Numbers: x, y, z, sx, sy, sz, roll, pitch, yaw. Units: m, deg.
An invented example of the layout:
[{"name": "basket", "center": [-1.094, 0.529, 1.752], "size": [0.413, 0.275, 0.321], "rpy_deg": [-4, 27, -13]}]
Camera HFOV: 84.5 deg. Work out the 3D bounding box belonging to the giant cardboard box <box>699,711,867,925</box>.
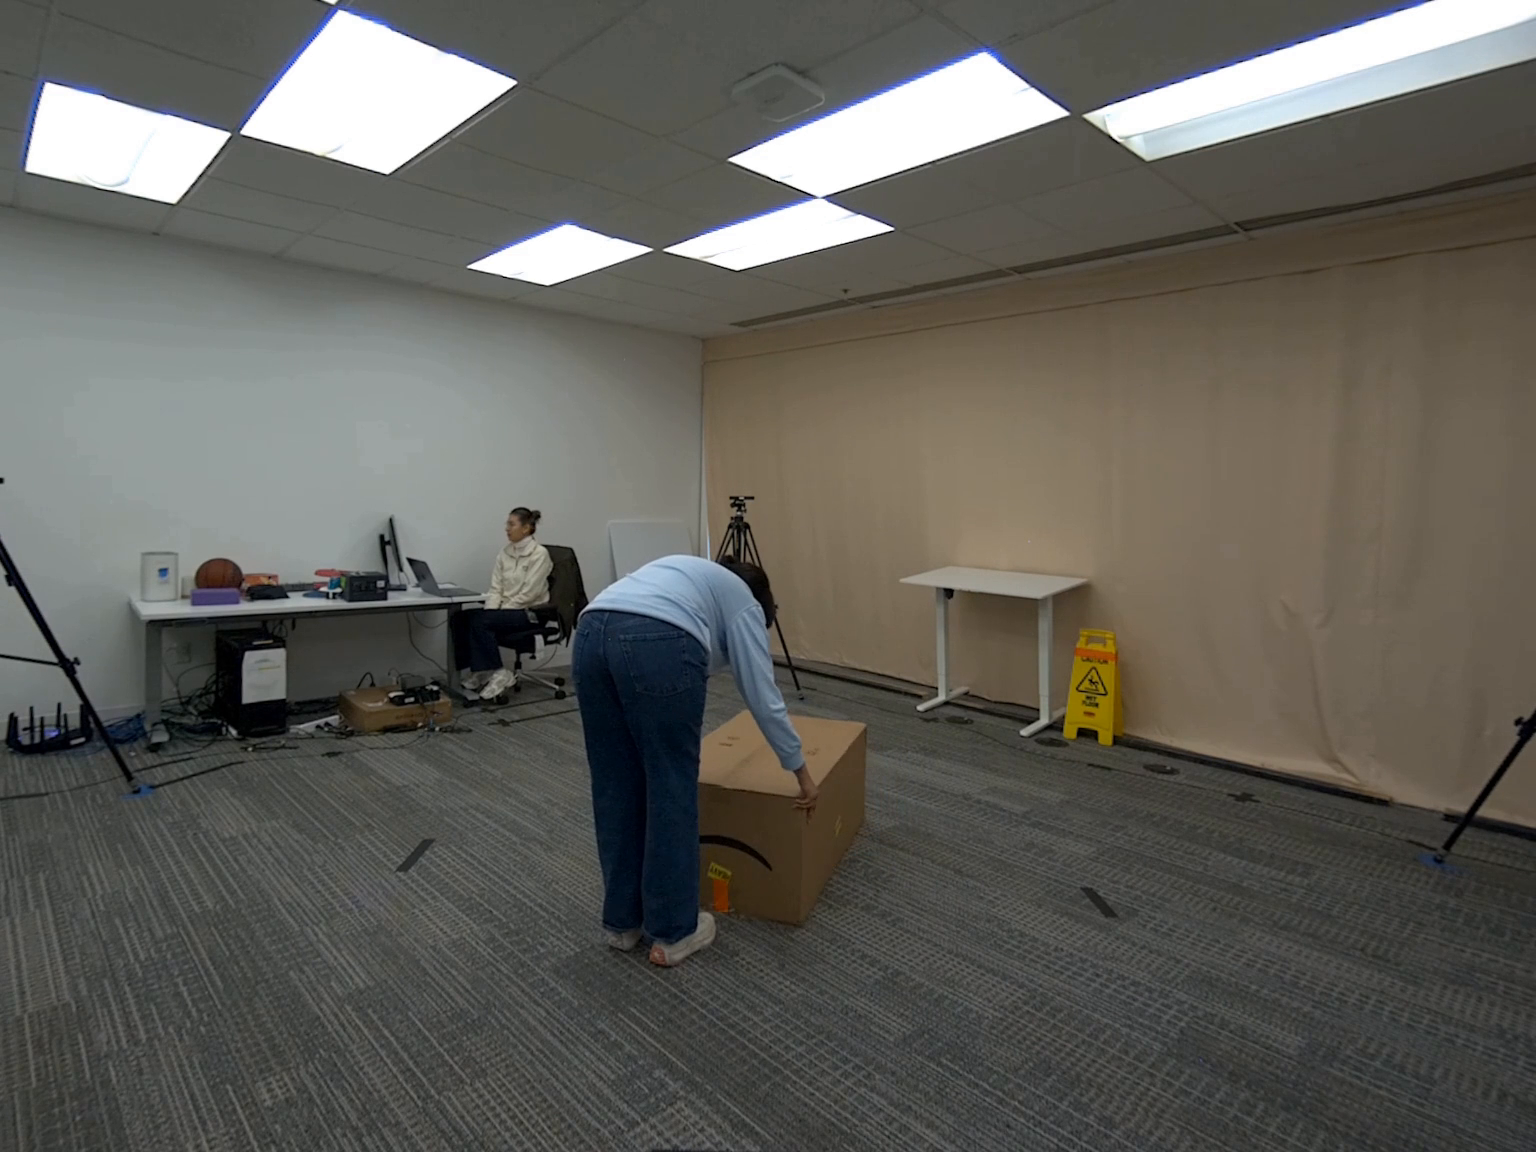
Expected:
[{"name": "giant cardboard box", "center": [-0.001, 0.878, 3.304], "size": [0.587, 0.425, 1.013], "rpy_deg": [3, 5, 19]}]
